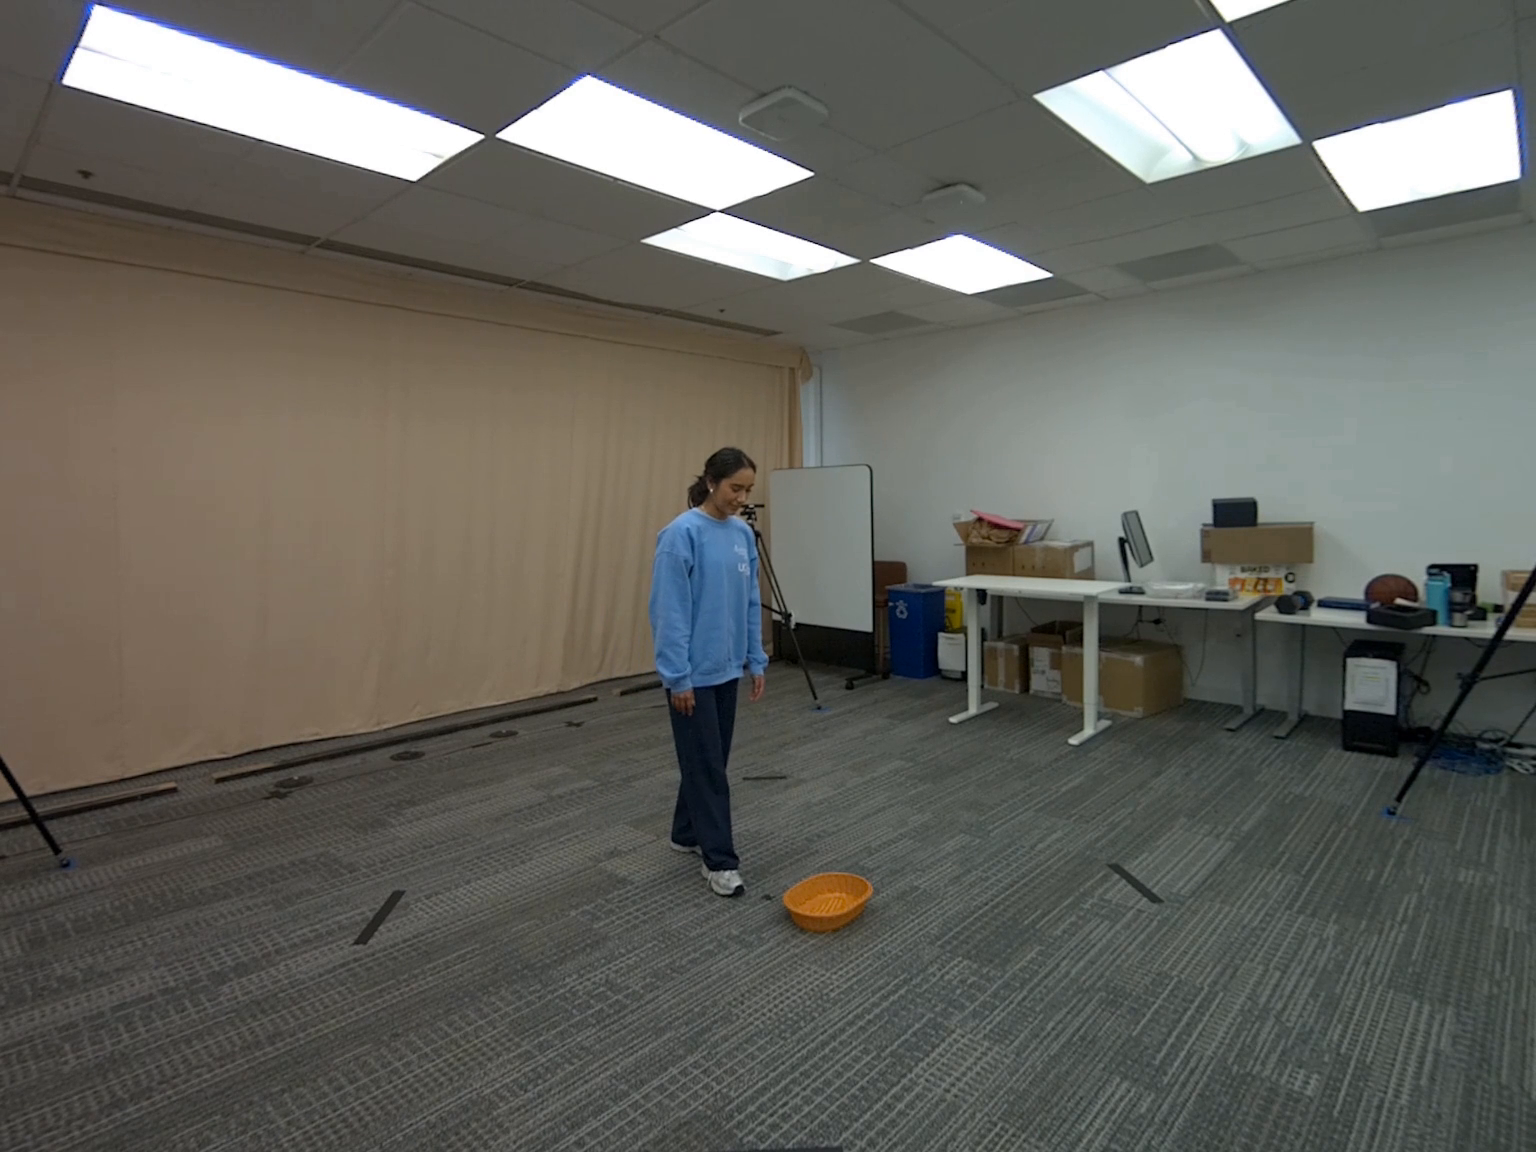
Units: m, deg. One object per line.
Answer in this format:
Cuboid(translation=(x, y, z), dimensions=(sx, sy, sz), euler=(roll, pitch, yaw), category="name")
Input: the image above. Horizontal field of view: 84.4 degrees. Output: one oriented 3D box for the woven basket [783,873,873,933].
Cuboid(translation=(0.204, 1.107, 2.860), dimensions=(0.261, 0.073, 0.340), euler=(2, 6, 41), category="woven basket")
